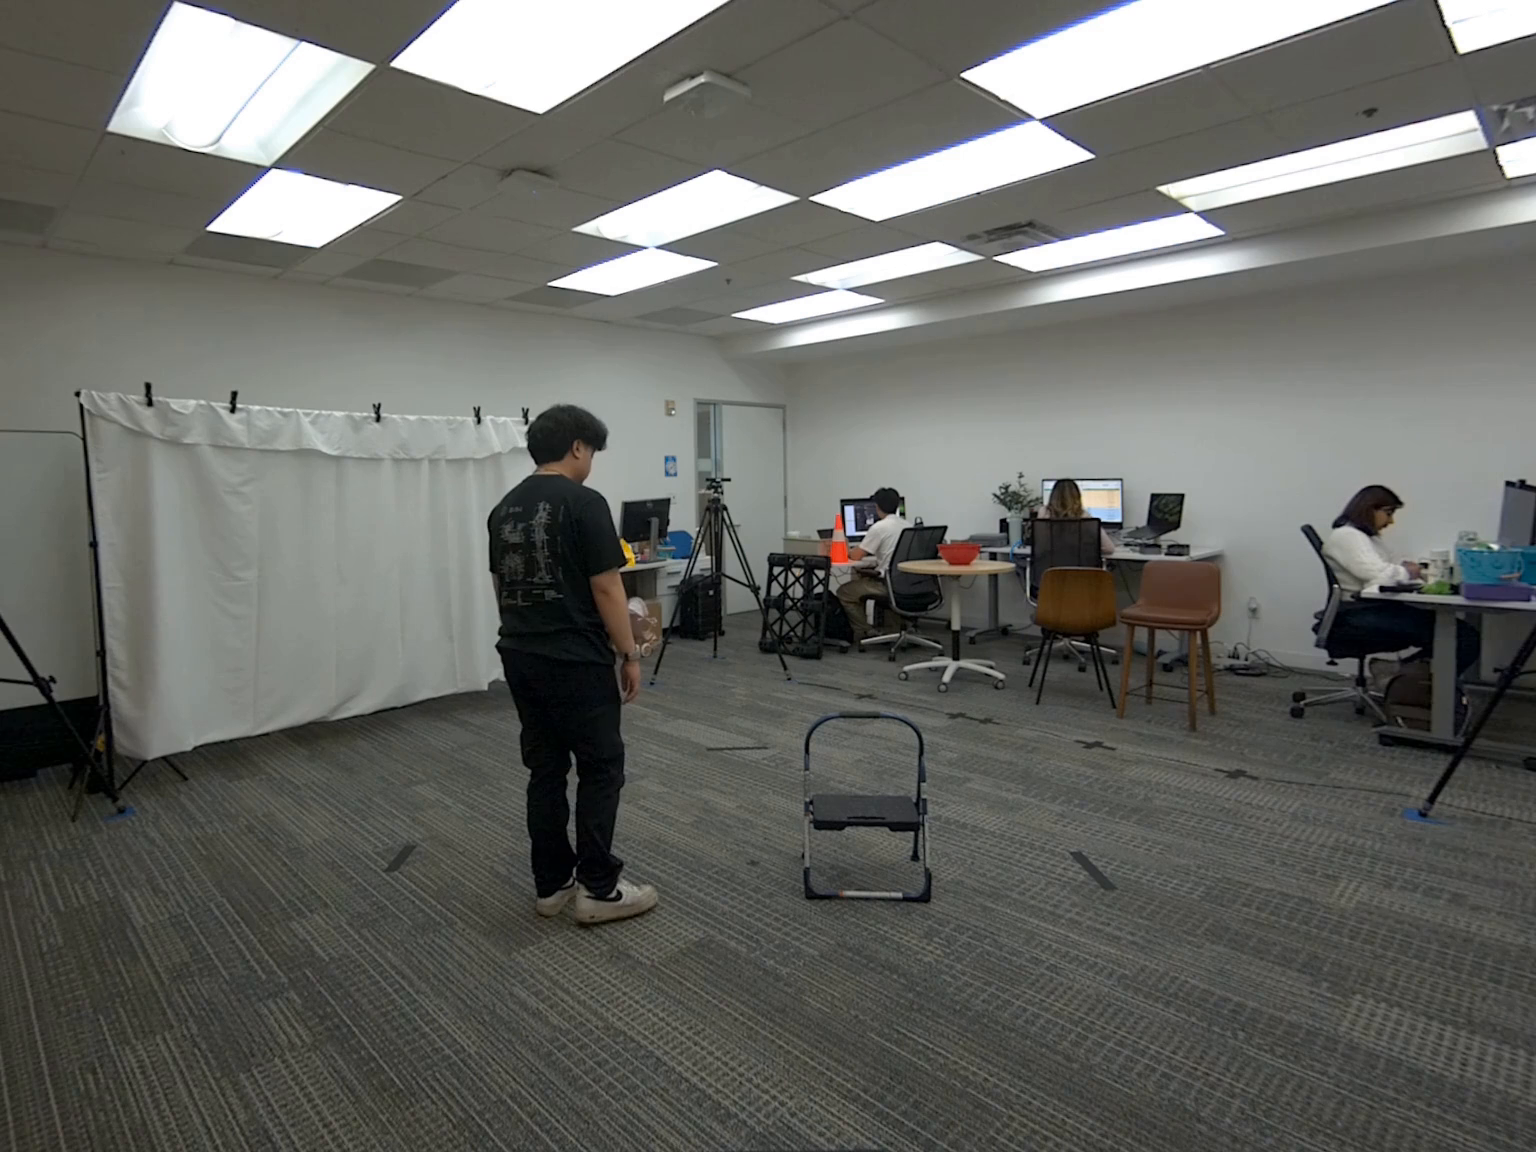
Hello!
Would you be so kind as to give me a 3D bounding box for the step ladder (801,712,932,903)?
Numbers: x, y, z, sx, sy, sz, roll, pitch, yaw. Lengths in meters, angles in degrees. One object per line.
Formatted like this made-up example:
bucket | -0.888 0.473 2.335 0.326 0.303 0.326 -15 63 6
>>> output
step ladder | 0.331 0.753 2.960 0.432 0.604 0.349 0 4 3
